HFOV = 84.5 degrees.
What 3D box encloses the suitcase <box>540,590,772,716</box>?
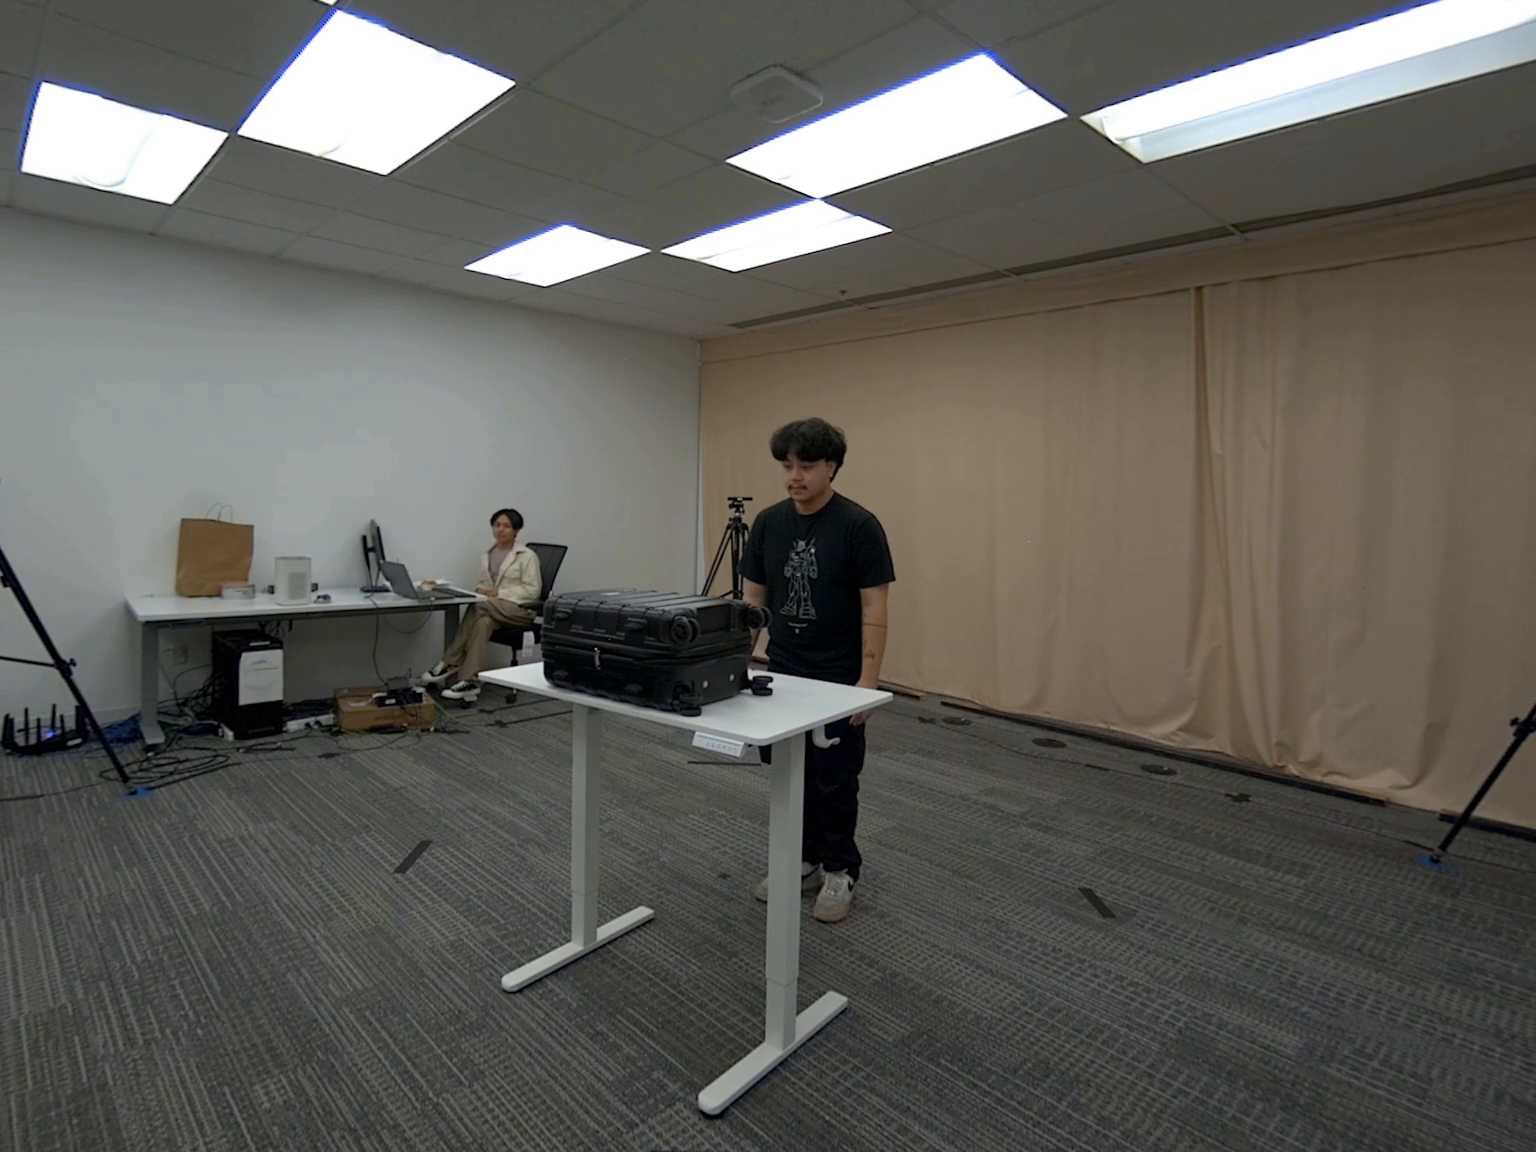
[{"bbox_3d":[-0.314,0.186,2.210,0.563,0.247,0.367,5,7,36],"label":"suitcase"}]
